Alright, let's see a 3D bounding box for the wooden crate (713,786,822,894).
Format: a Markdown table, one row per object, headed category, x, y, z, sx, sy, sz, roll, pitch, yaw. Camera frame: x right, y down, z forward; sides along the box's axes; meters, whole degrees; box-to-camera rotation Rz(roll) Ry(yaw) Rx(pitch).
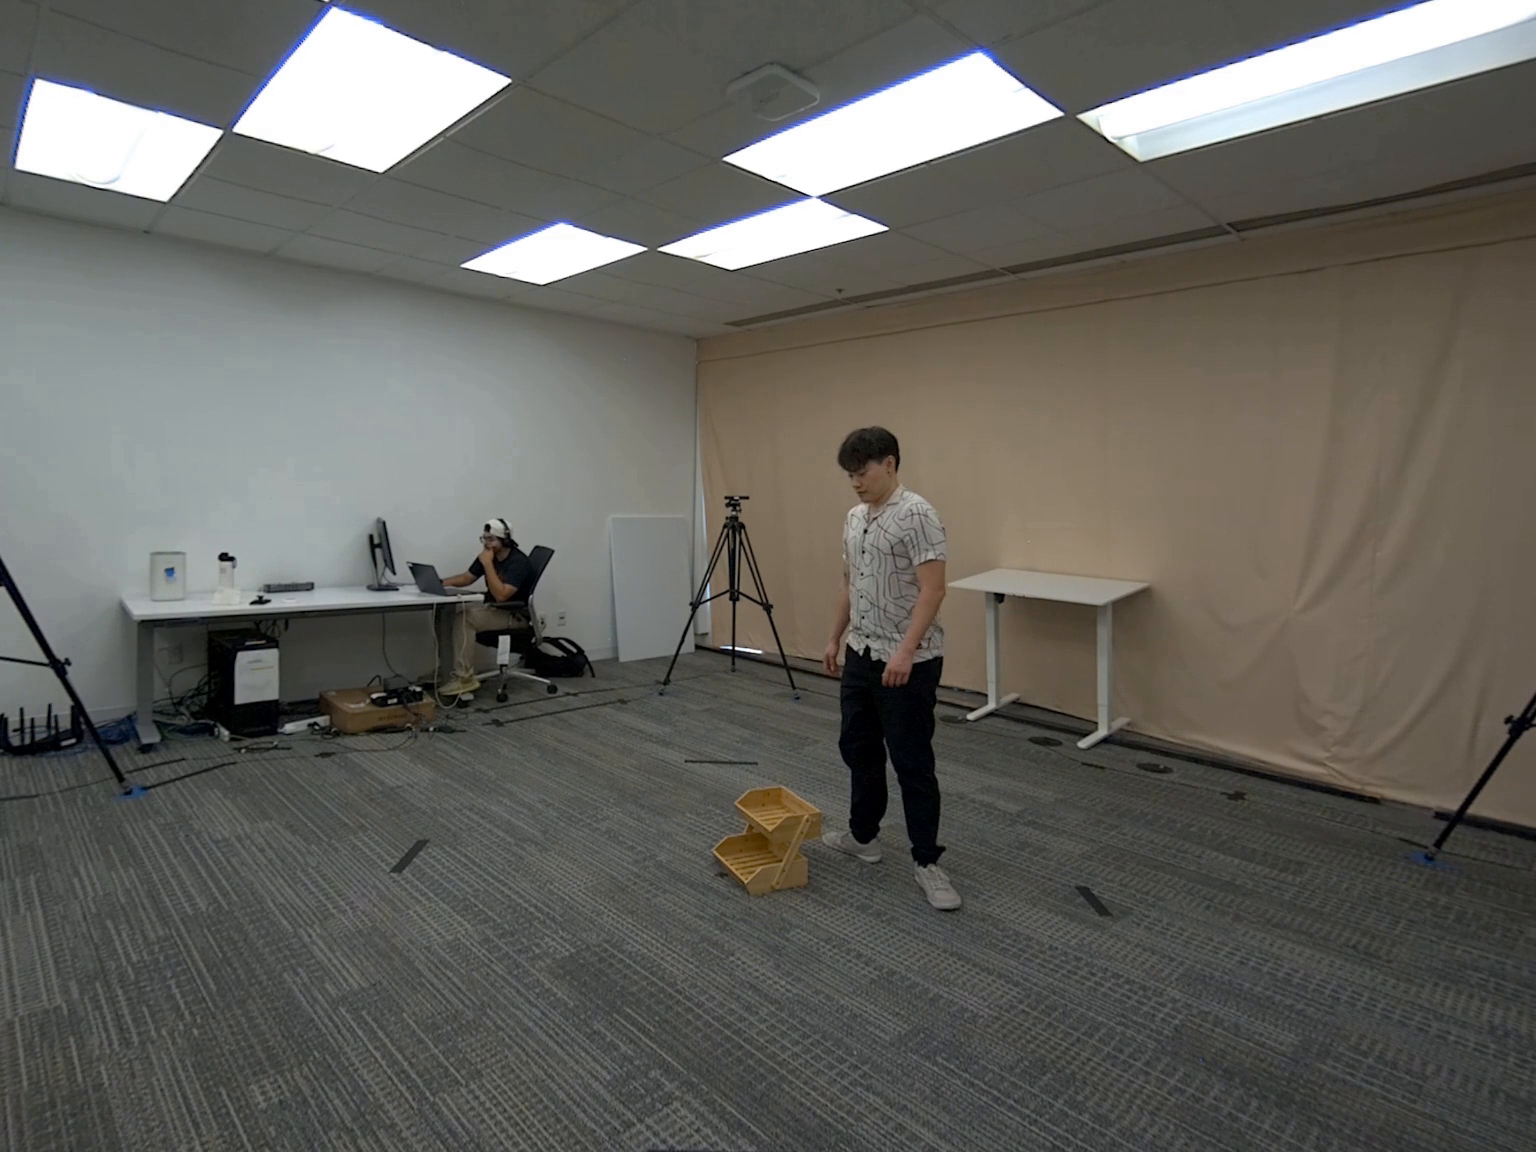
| category | x | y | z | sx | sy | sz | roll | pitch | yaw |
| --- | --- | --- | --- | --- | --- | --- | --- | --- | --- |
| wooden crate | -0.018 | 0.967 | 3.129 | 0.296 | 0.273 | 0.331 | 1 | 4 | -27 |
